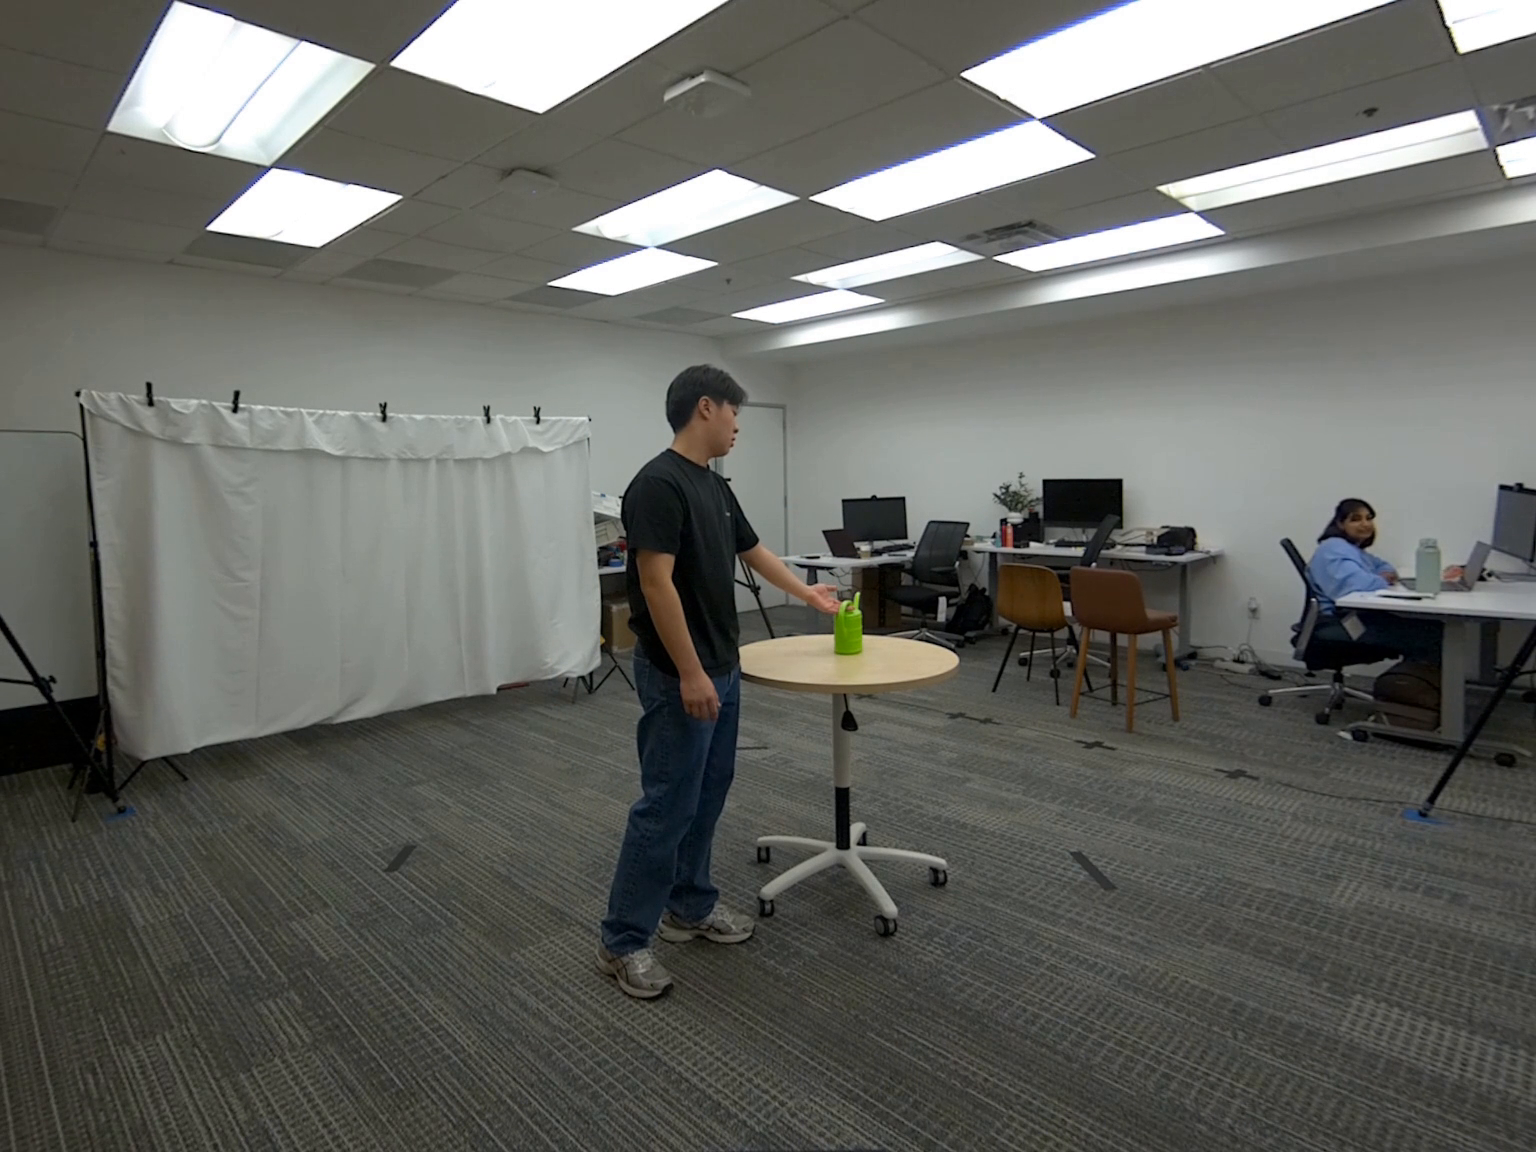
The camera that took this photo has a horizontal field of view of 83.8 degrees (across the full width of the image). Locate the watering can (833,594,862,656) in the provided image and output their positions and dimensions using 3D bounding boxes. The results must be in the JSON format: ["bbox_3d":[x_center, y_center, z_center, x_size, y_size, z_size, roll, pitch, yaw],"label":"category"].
[{"bbox_3d":[0.297,0.166,2.967,0.100,0.175,0.273,3,10,28],"label":"watering can"}]
